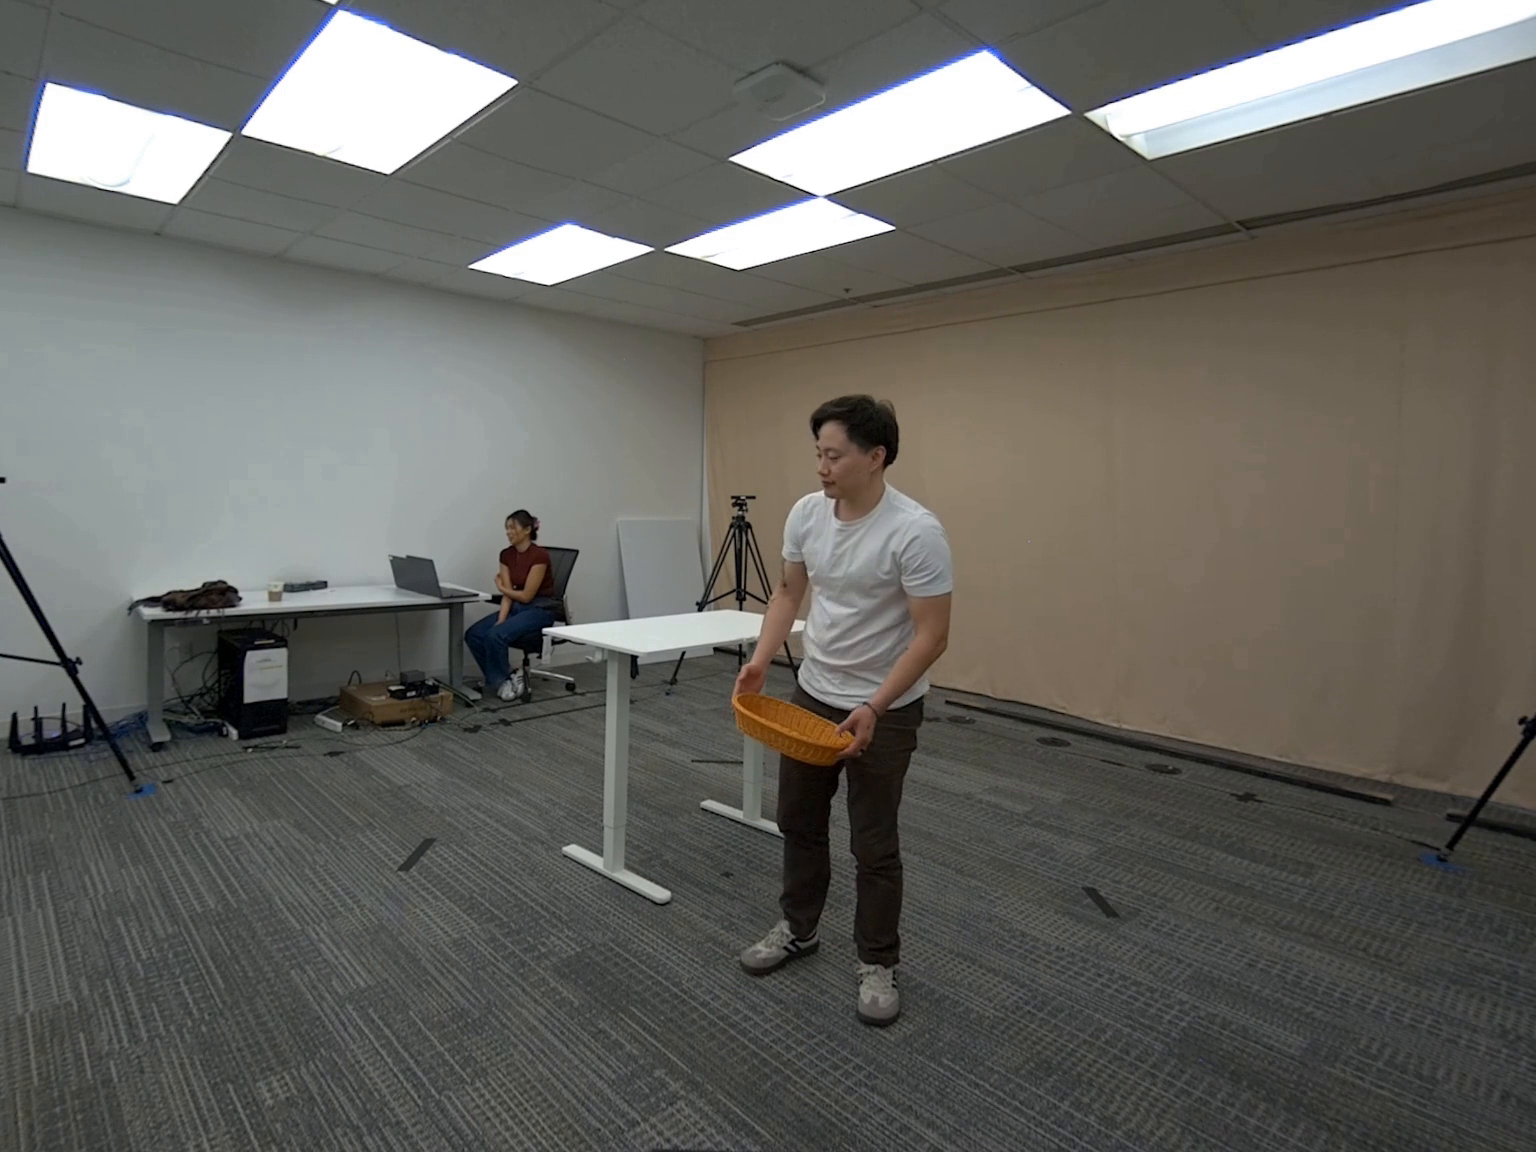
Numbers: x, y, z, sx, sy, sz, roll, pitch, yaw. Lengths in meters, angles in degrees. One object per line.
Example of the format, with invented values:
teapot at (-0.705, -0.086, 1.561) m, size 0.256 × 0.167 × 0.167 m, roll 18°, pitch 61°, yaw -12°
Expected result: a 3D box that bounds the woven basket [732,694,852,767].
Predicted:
woven basket at (0.073, 0.407, 2.178) m, size 0.246 × 0.073 × 0.361 m, roll 6°, pitch 9°, yaw -45°
